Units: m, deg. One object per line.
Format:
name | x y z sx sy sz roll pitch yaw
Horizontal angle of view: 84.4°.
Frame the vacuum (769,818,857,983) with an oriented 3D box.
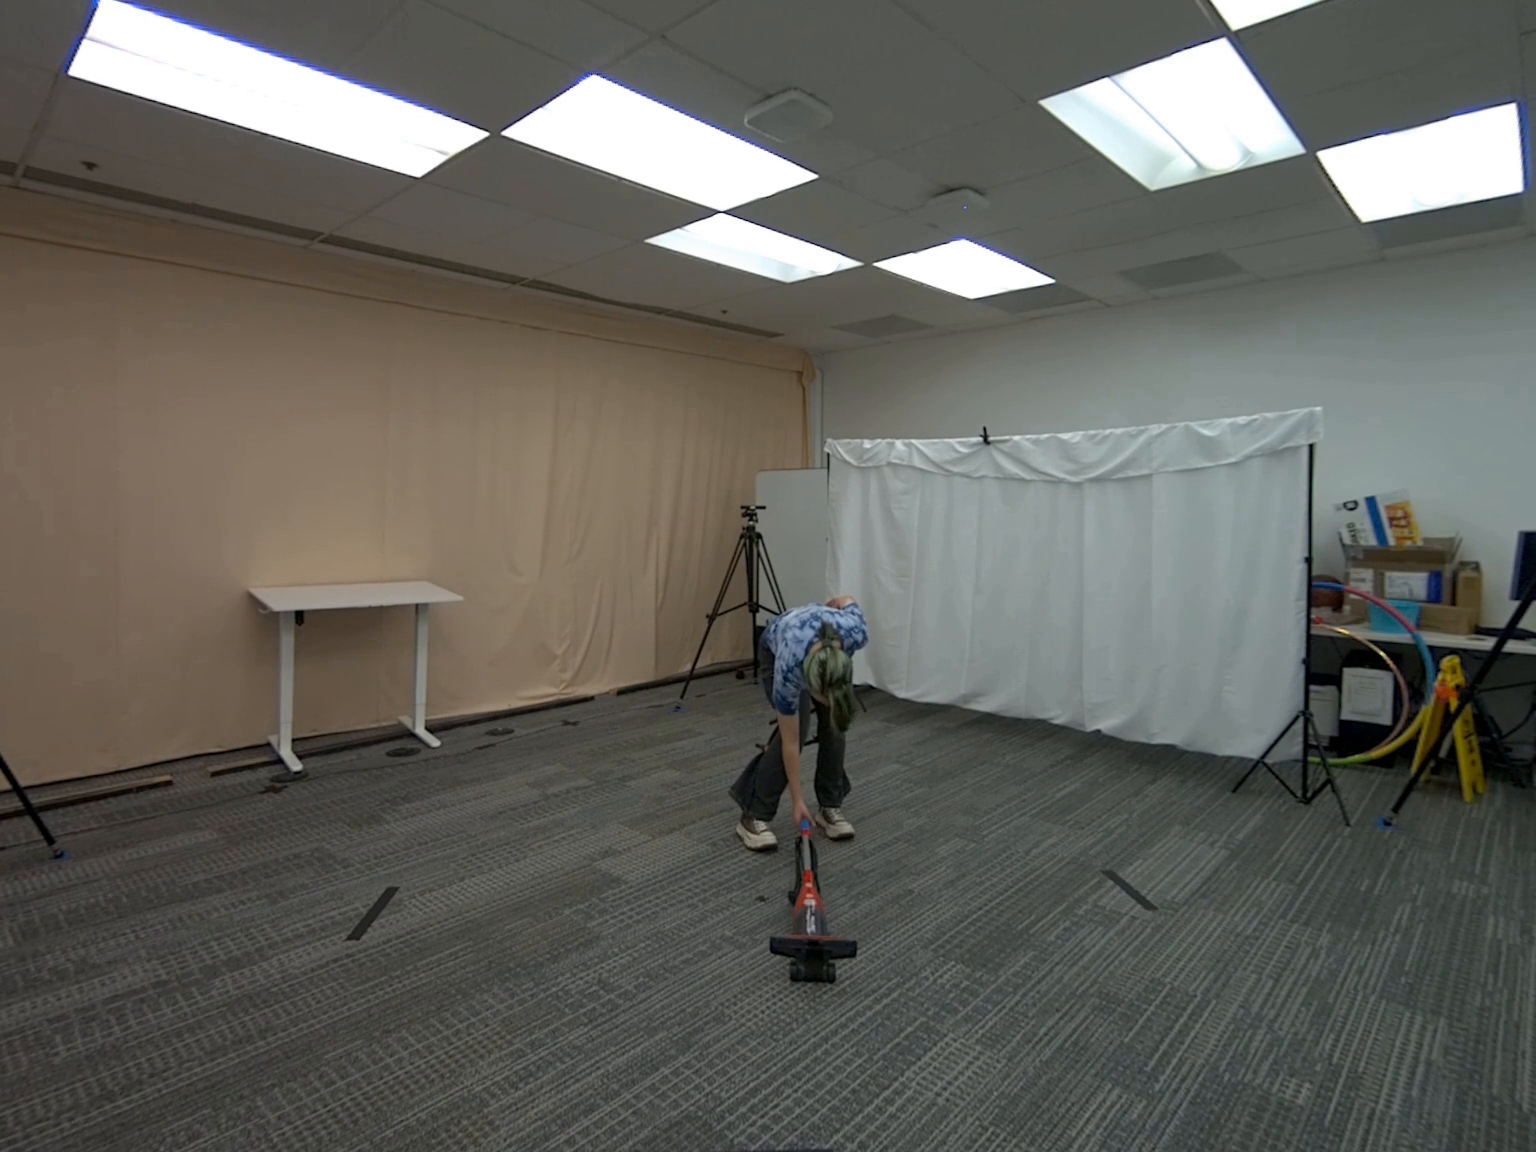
vacuum | 0.140 1.063 2.959 0.253 0.143 1.049 -2 5 1
